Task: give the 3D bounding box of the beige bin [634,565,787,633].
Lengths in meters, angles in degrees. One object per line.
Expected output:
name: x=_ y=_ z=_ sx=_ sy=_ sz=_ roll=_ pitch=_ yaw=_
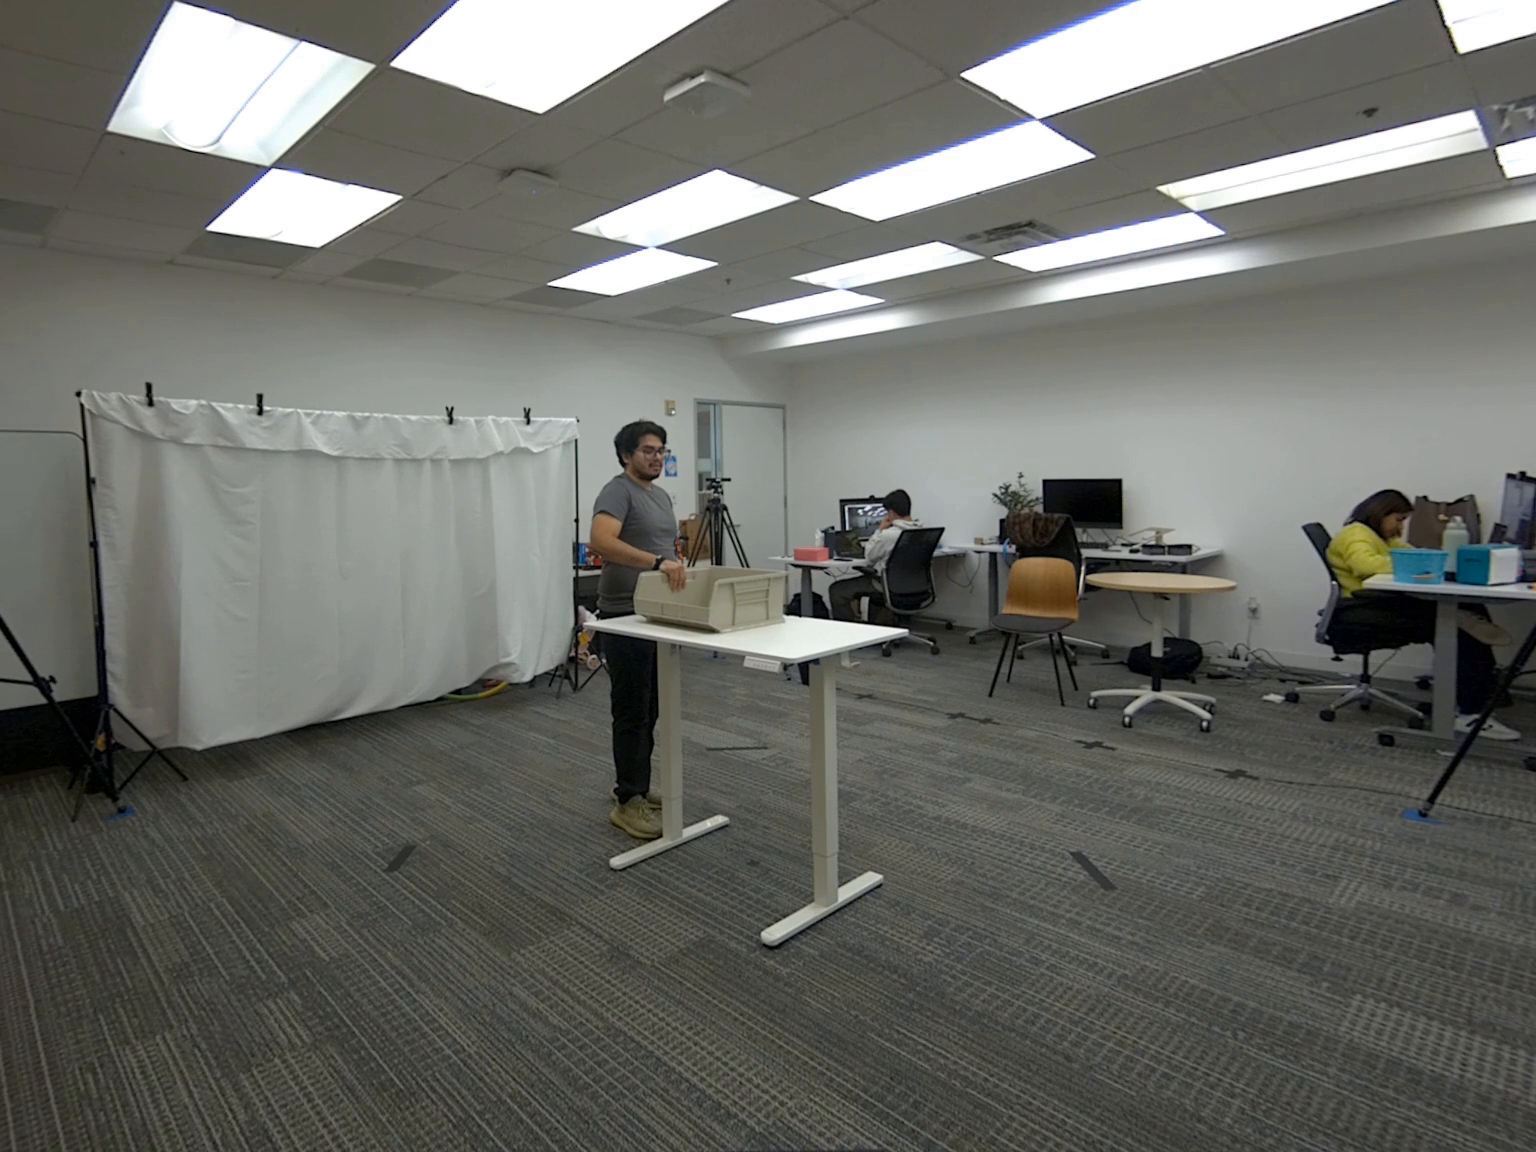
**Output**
beige bin: x=-0.206 y=0.077 z=3.065 sx=0.367 sy=0.188 sz=0.435 roll=-4 pitch=6 yaw=-43
